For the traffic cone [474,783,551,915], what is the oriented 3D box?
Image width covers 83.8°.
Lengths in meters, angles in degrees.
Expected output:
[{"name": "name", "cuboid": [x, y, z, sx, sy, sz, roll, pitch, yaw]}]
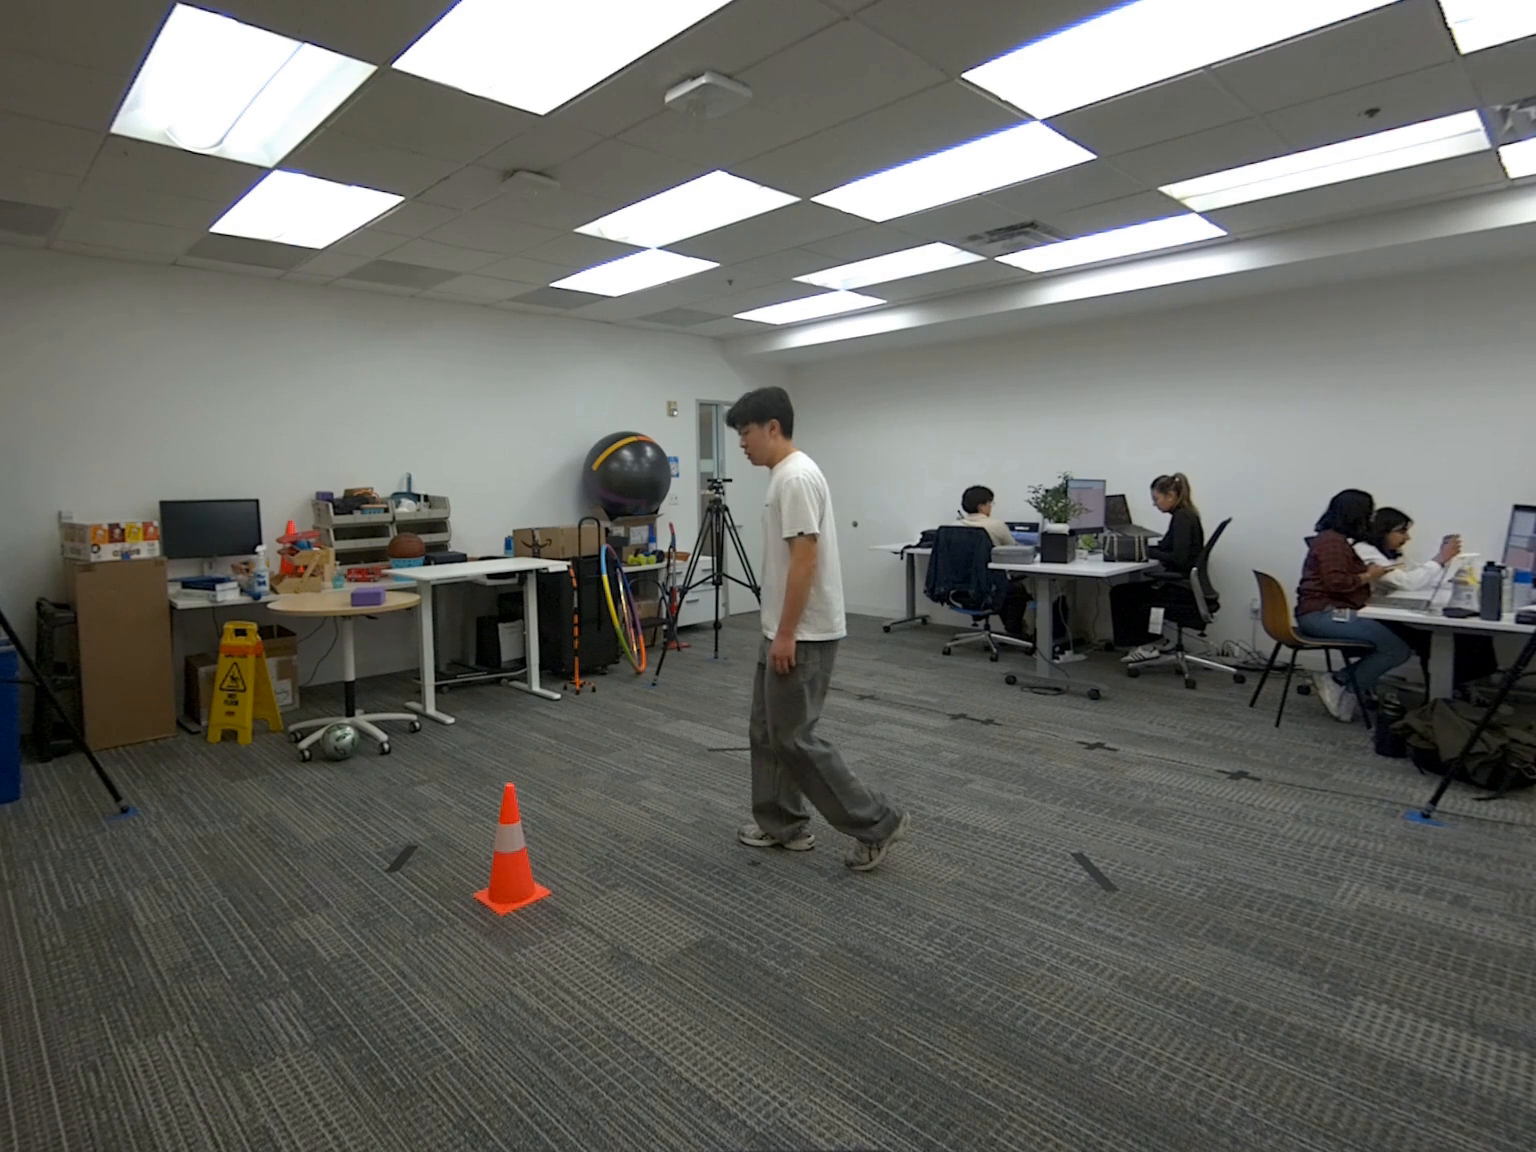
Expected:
[{"name": "traffic cone", "cuboid": [-0.875, 0.900, 2.903, 0.200, 0.383, 0.209, -5, 3, -39]}]
